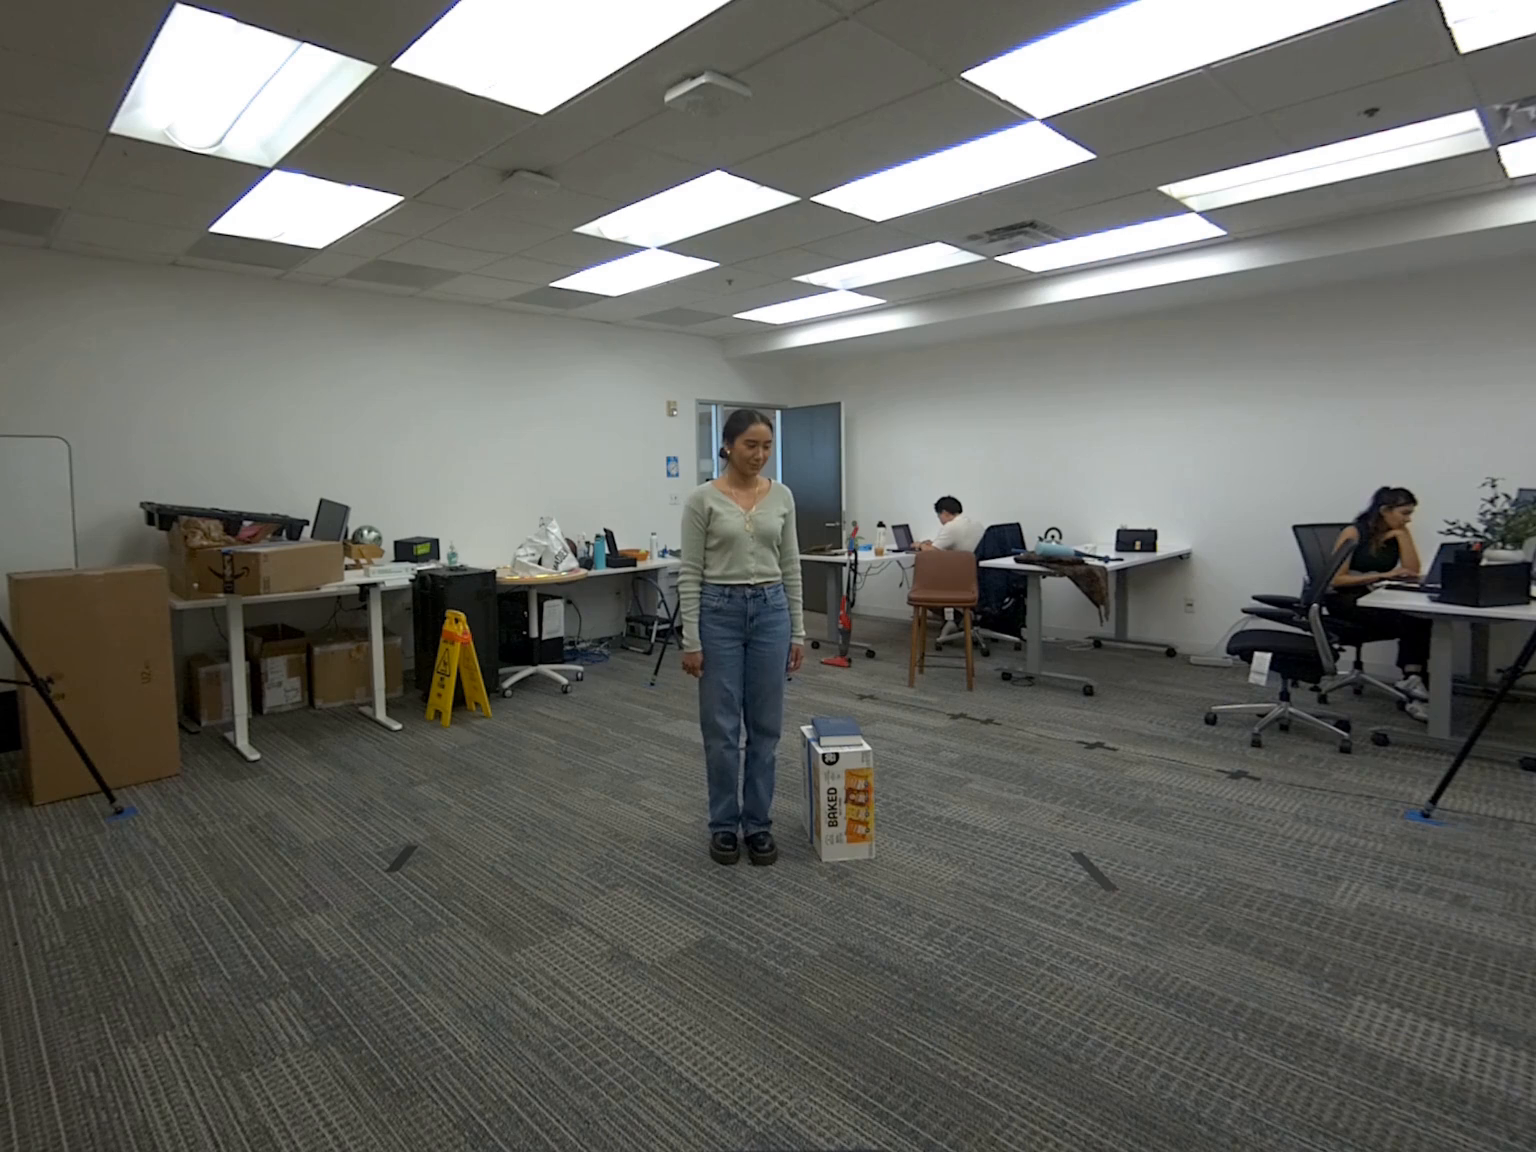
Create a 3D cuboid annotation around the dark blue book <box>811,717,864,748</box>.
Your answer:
[{"bbox_3d":[0.262,0.598,3.279,0.163,0.045,0.246,-1,6,-1],"label":"dark blue book"}]
